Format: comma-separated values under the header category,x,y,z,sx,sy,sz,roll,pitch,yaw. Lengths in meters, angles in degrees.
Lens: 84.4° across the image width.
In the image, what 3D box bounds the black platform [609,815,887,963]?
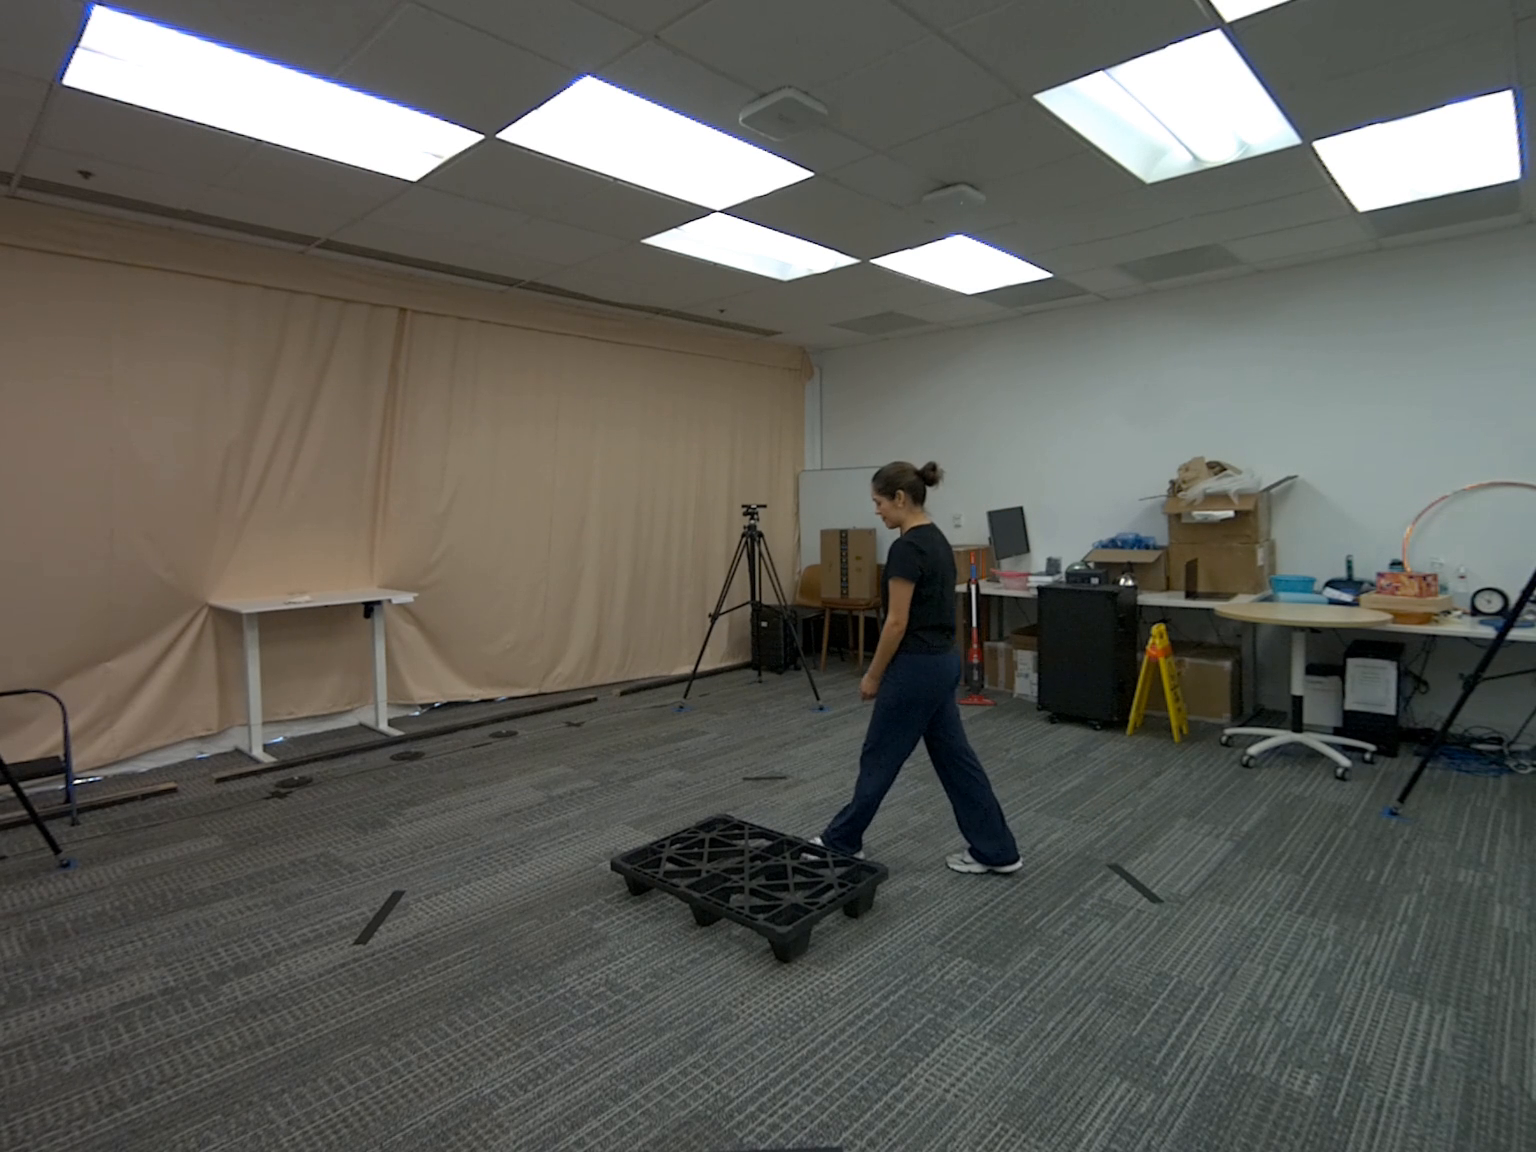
category,x,y,z,sx,sy,sz,roll,pitch,yaw
black platform,-0.061,1.078,2.956,0.832,0.143,0.587,3,7,41
